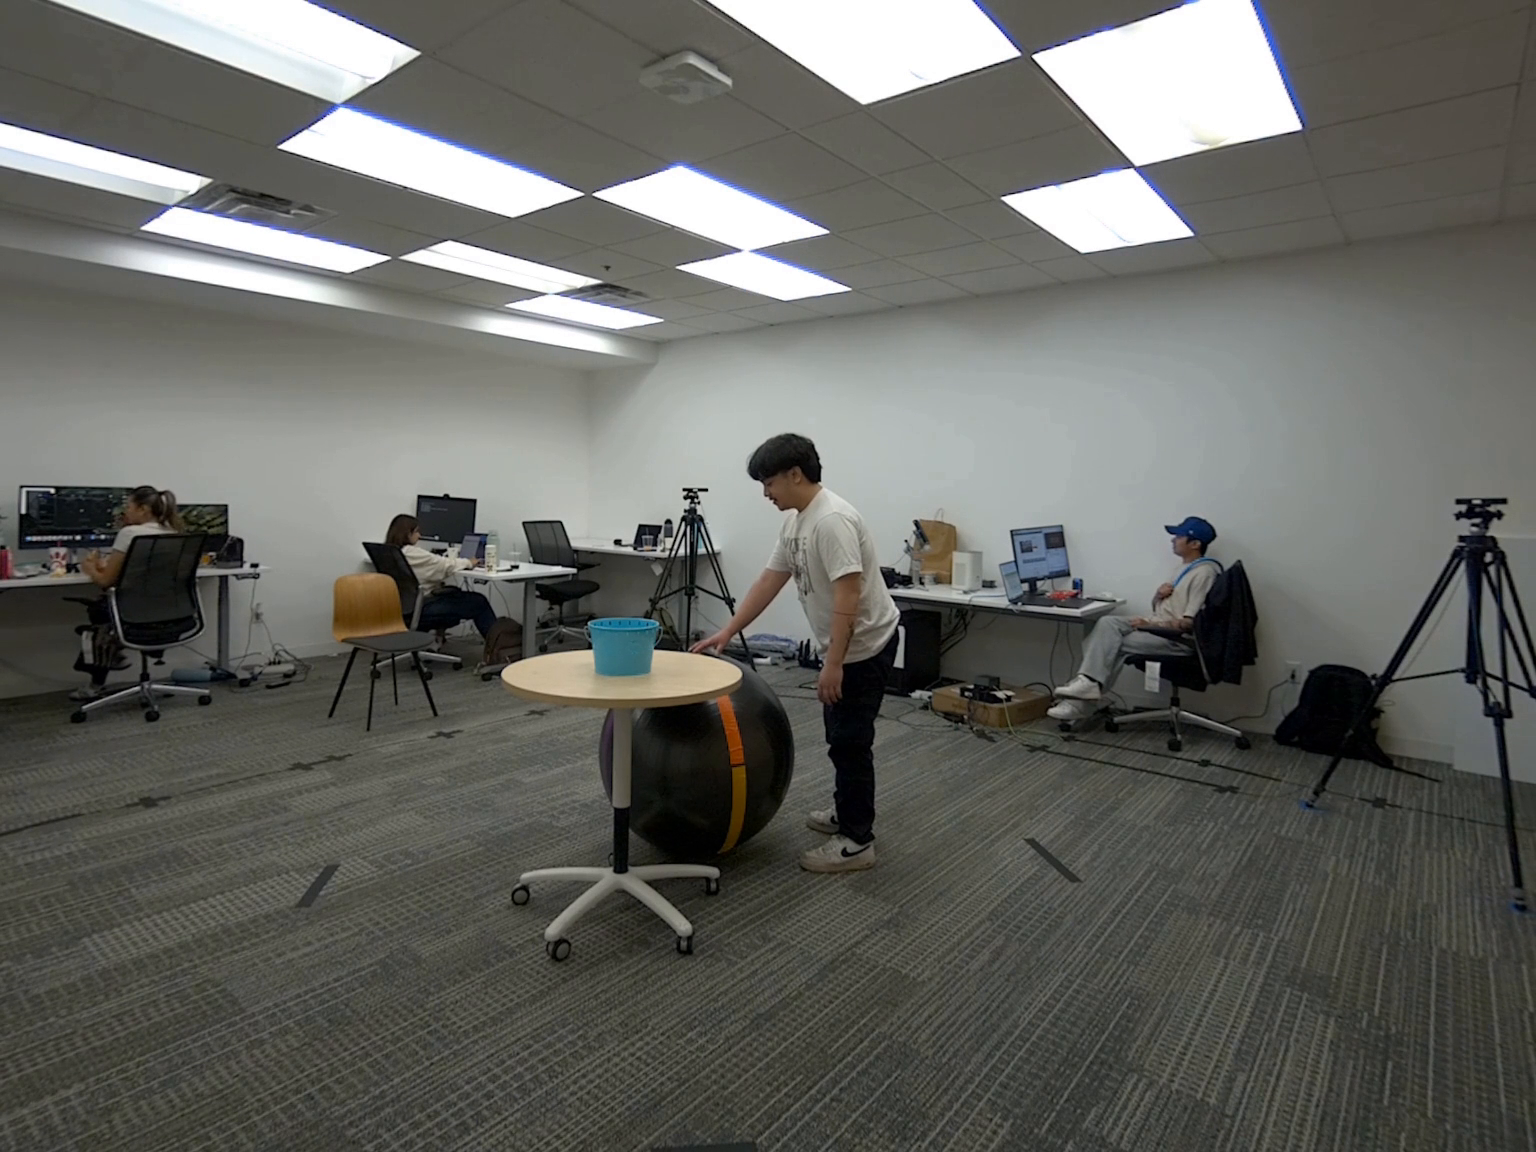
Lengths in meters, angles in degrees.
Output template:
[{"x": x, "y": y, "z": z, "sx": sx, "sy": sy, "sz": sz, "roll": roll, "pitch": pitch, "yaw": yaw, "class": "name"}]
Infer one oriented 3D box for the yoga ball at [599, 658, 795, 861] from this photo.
[{"x": -0.291, "y": 0.679, "z": 3.297, "sx": 0.757, "sy": 0.756, "sz": 0.761, "roll": 1, "pitch": 4, "yaw": -2, "class": "yoga ball"}]
